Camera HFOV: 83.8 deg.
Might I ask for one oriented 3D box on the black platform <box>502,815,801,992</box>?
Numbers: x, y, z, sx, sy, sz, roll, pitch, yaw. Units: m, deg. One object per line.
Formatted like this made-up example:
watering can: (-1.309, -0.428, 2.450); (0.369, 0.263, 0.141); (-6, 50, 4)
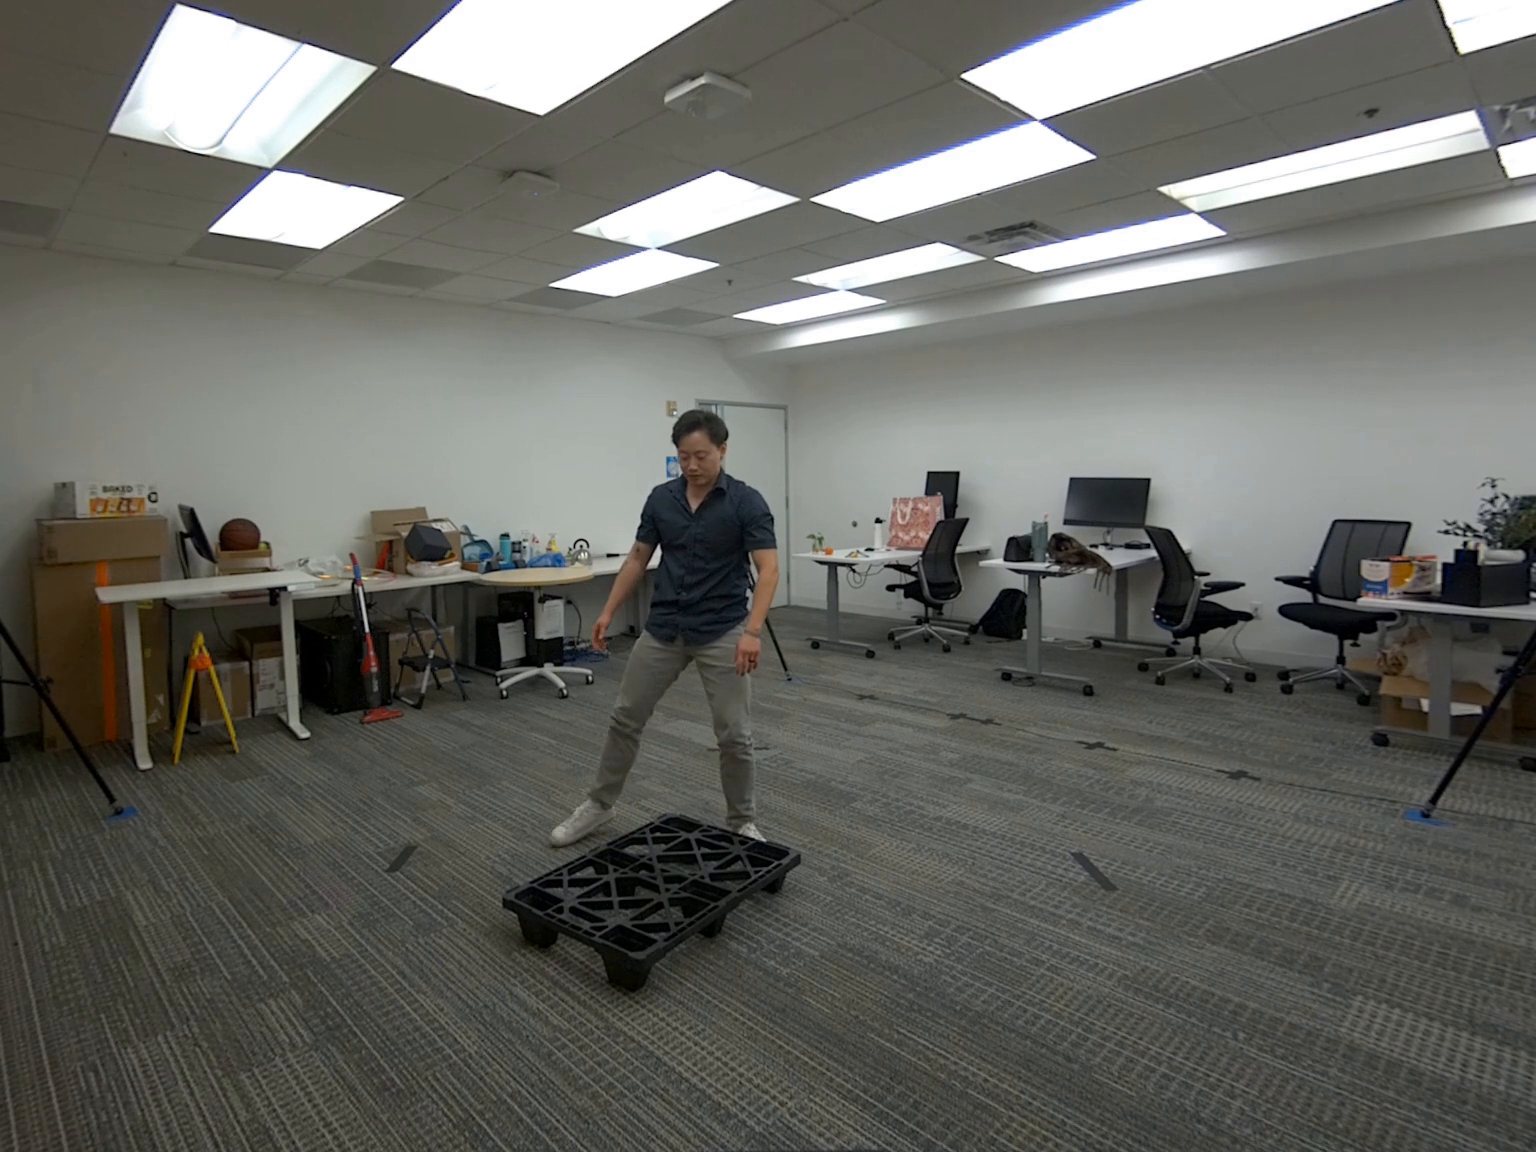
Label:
black platform: (-0.352, 1.026, 2.759); (0.623, 0.142, 0.786); (3, 8, 36)
